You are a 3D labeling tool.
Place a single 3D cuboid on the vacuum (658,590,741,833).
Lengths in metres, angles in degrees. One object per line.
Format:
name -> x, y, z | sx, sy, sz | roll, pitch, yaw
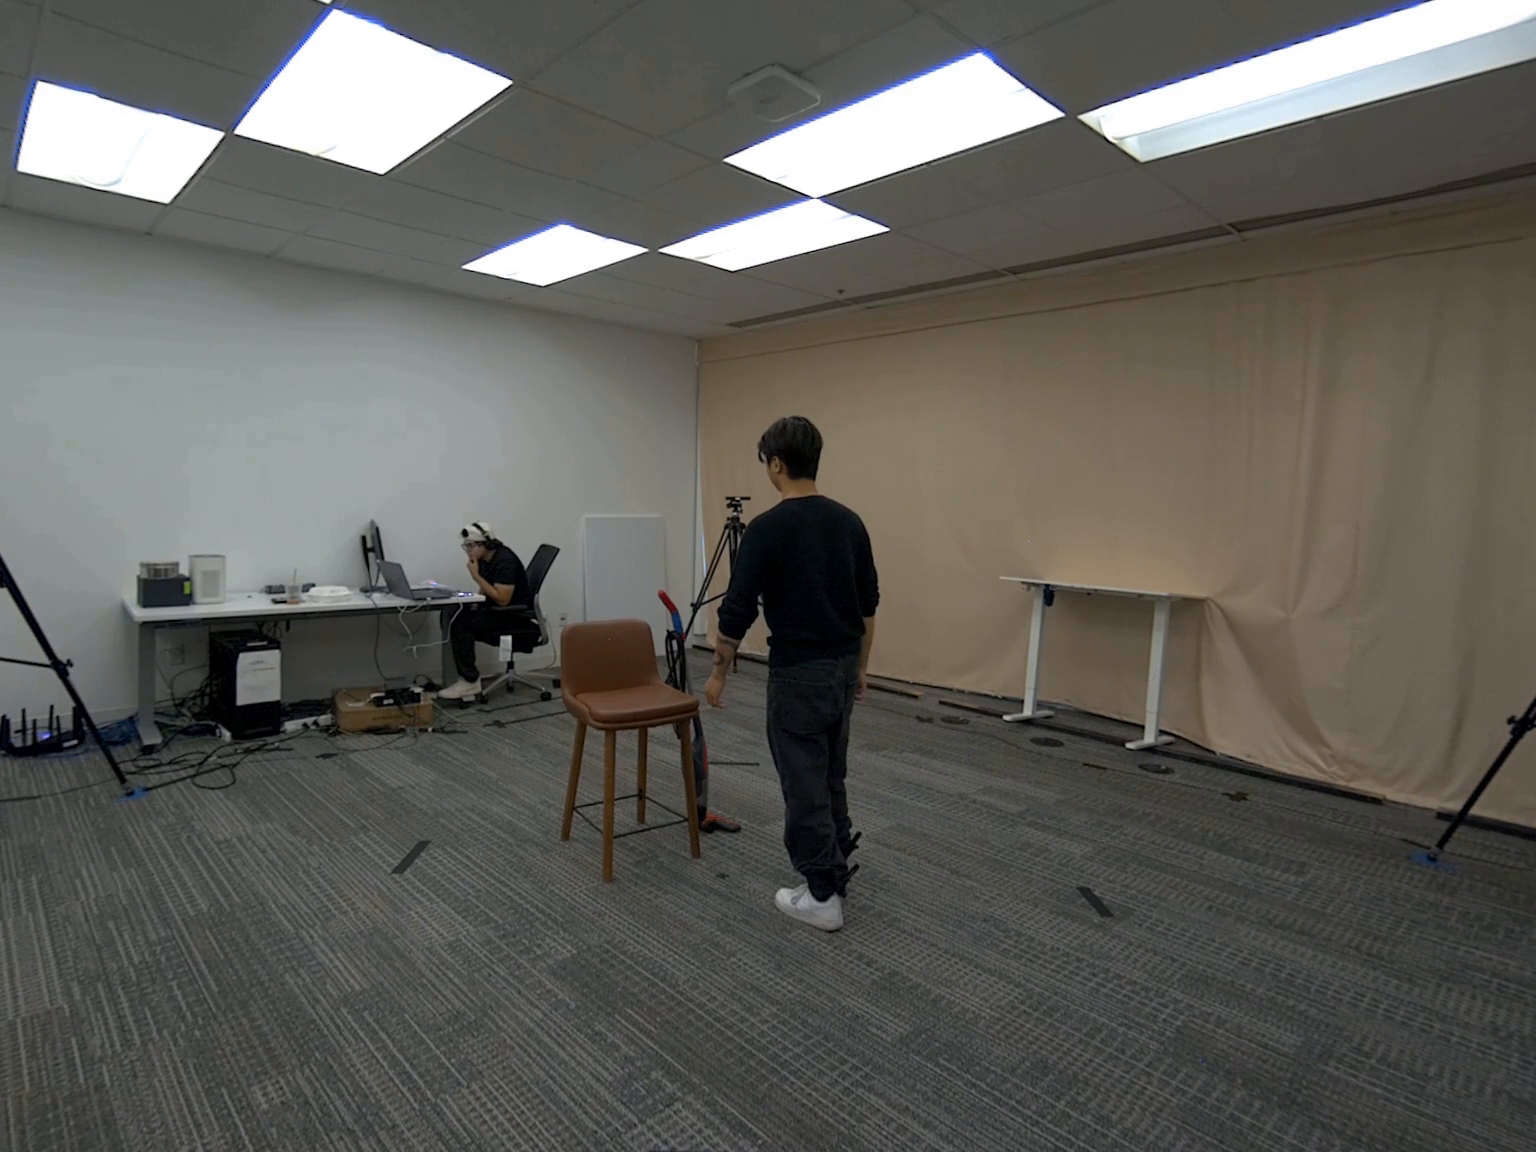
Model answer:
vacuum -> -0.348, 0.563, 3.475 | 0.142, 1.038, 0.259 | -20, 16, -39
